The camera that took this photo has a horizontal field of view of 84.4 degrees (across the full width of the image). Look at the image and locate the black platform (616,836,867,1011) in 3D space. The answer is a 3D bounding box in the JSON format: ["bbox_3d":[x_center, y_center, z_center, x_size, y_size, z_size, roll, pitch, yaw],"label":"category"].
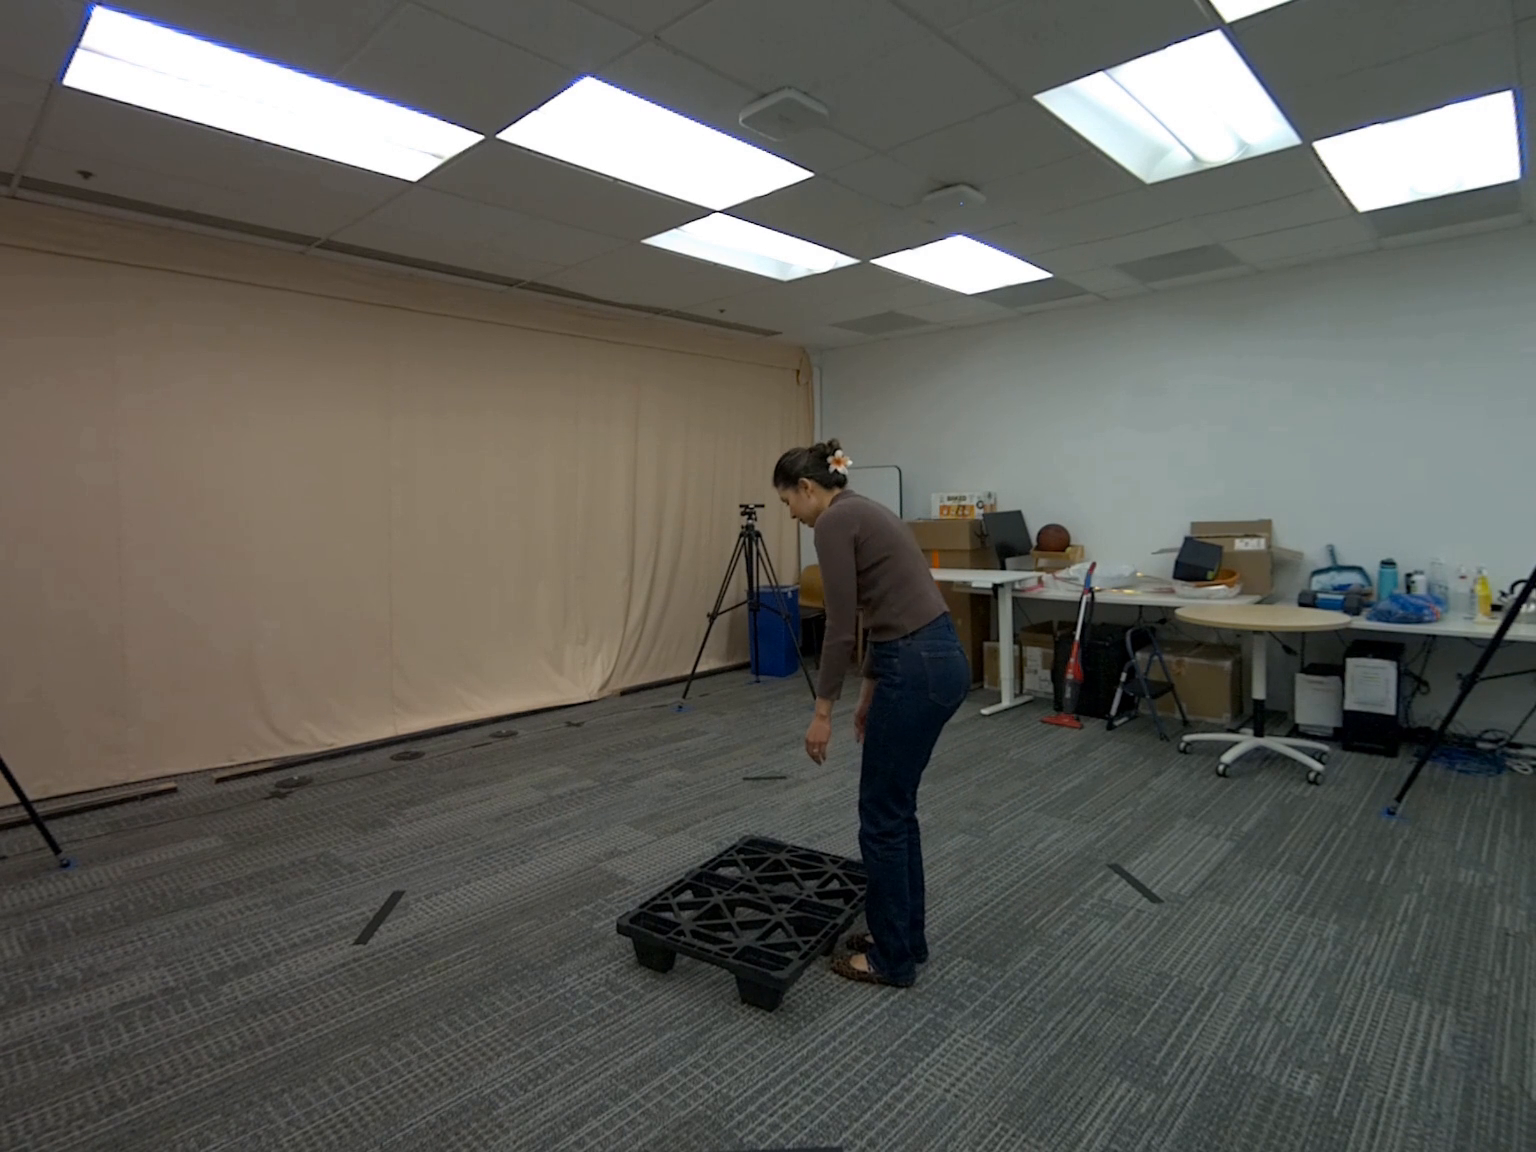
[{"bbox_3d":[-0.015,1.095,2.731,0.623,0.143,0.784,1,5,32],"label":"black platform"}]
